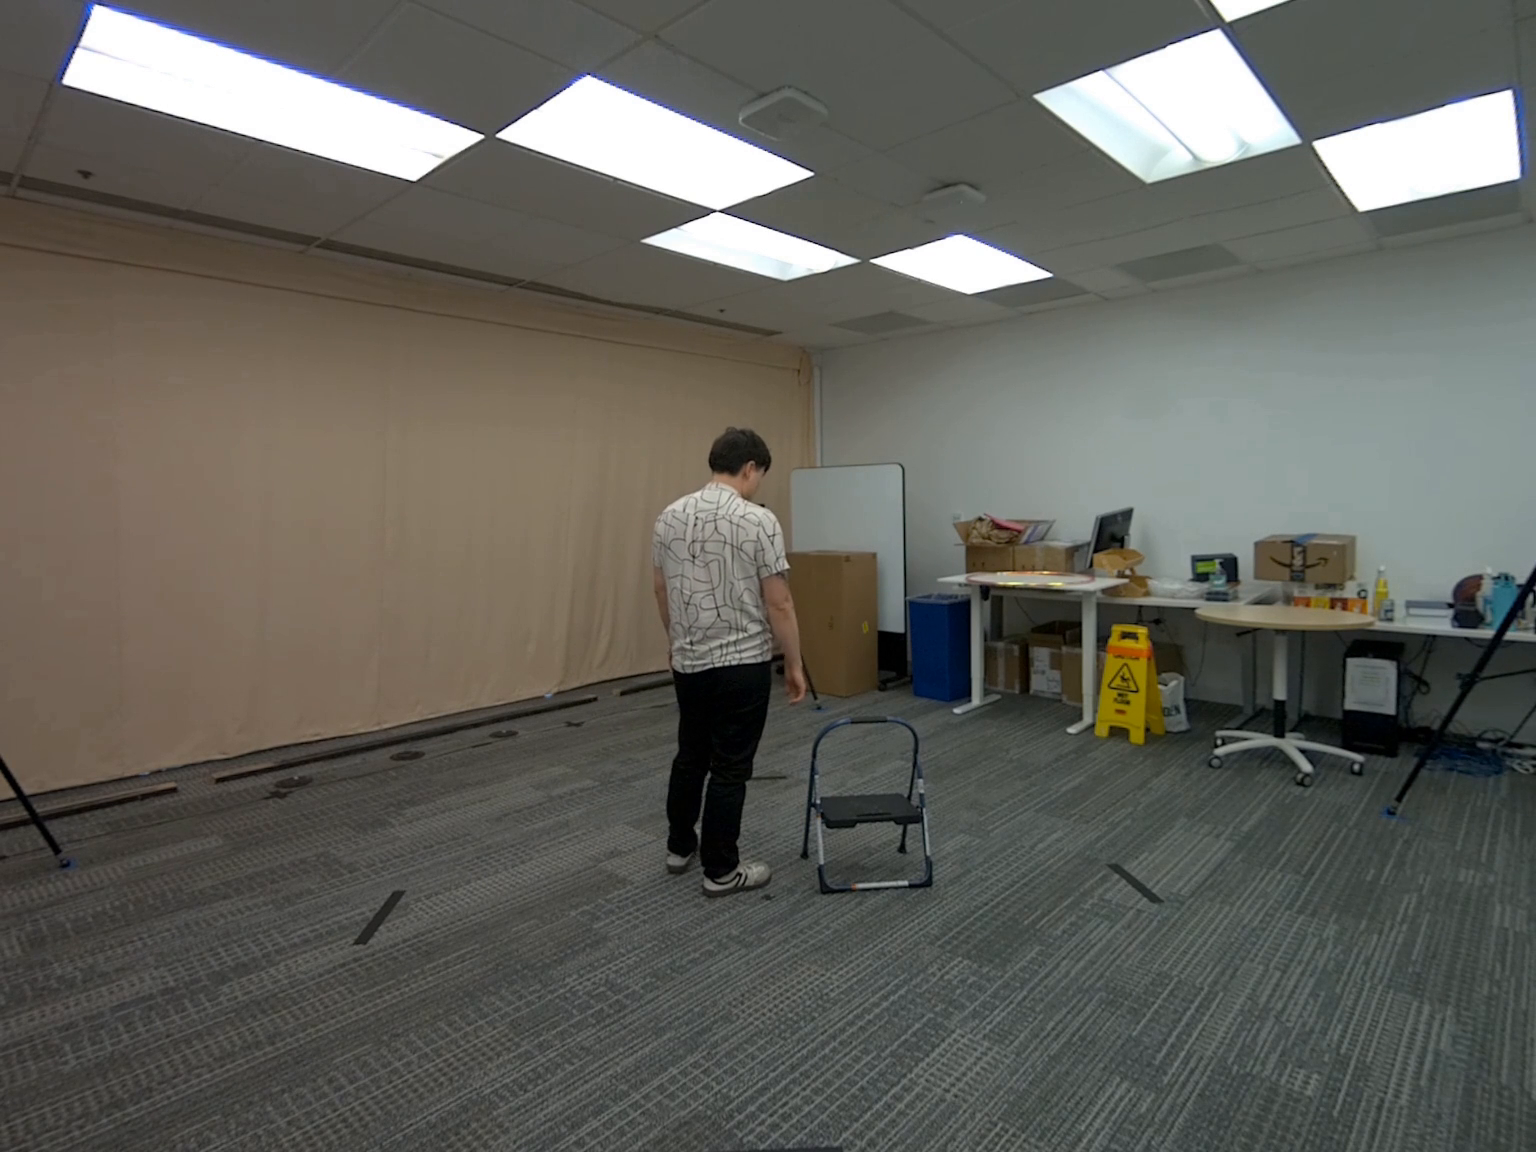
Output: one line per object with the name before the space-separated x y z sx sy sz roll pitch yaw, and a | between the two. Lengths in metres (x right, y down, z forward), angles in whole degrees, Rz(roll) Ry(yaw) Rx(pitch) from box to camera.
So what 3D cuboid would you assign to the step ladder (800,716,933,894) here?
step ladder | 0.367 0.813 3.161 0.427 0.605 0.353 -1 3 -8
